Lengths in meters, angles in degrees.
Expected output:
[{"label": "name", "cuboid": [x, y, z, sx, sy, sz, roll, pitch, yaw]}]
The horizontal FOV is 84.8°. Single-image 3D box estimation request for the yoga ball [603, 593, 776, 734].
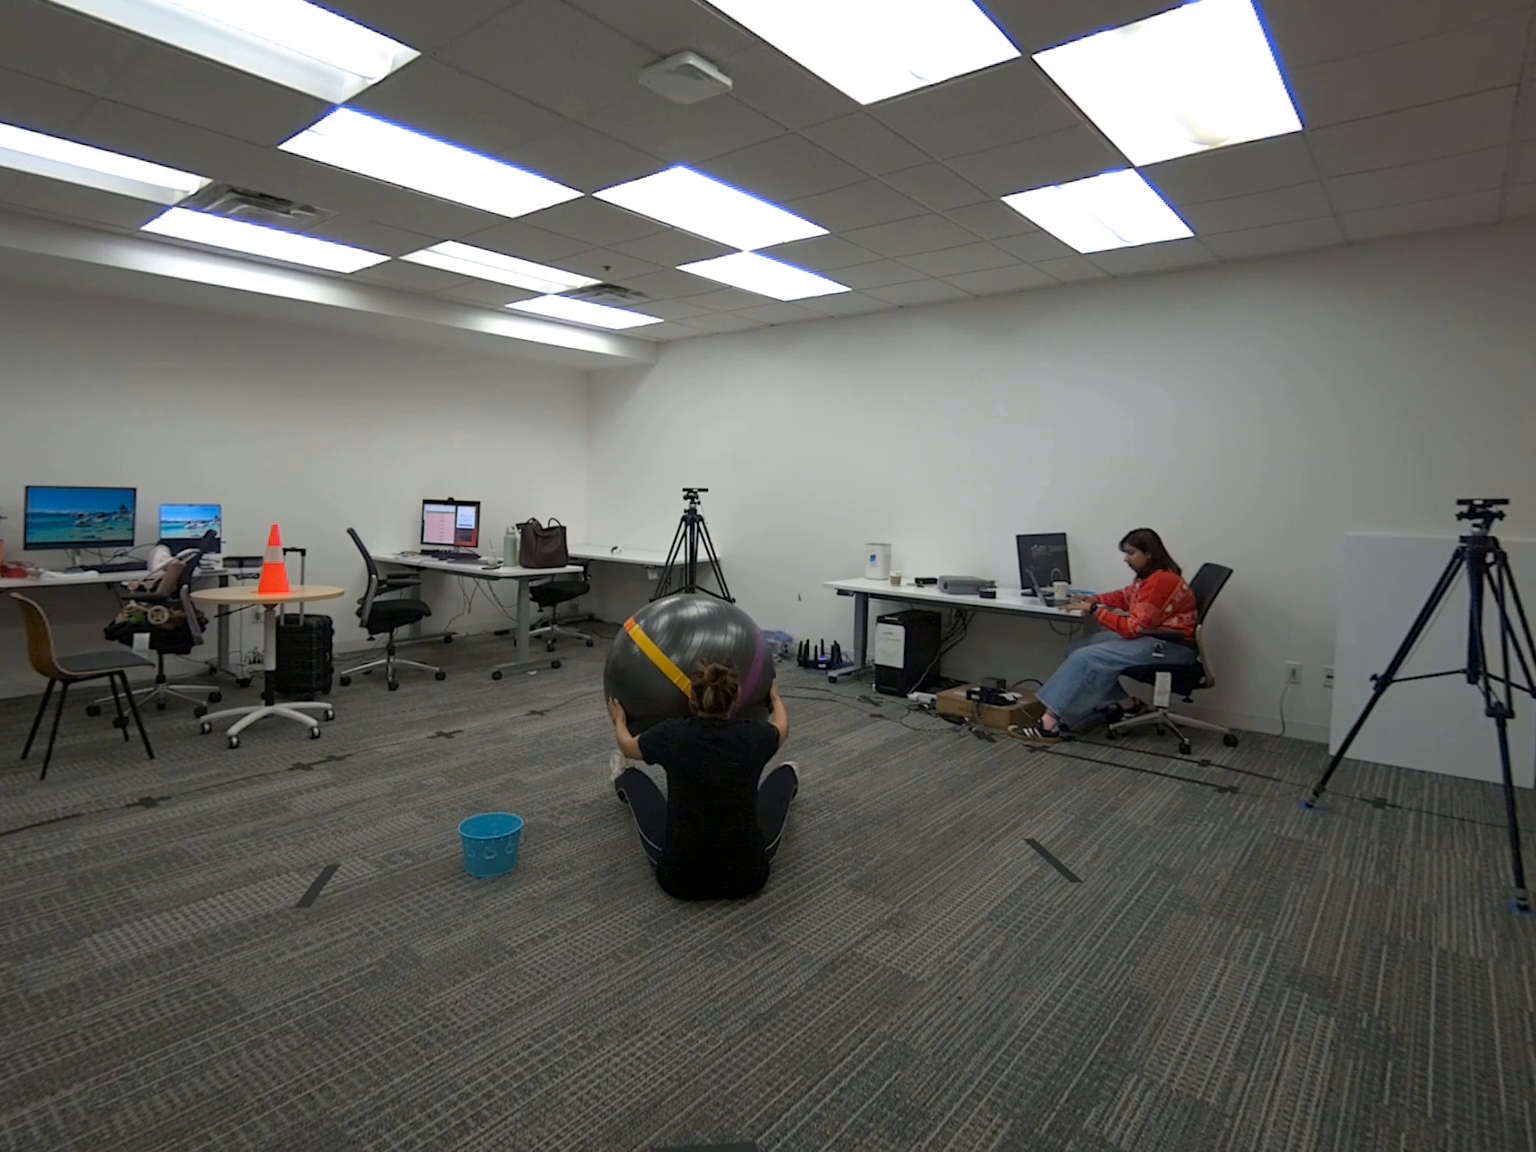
[{"label": "yoga ball", "cuboid": [-0.353, 0.457, 3.704, 0.757, 0.756, 0.762, 1, 4, -2]}]
